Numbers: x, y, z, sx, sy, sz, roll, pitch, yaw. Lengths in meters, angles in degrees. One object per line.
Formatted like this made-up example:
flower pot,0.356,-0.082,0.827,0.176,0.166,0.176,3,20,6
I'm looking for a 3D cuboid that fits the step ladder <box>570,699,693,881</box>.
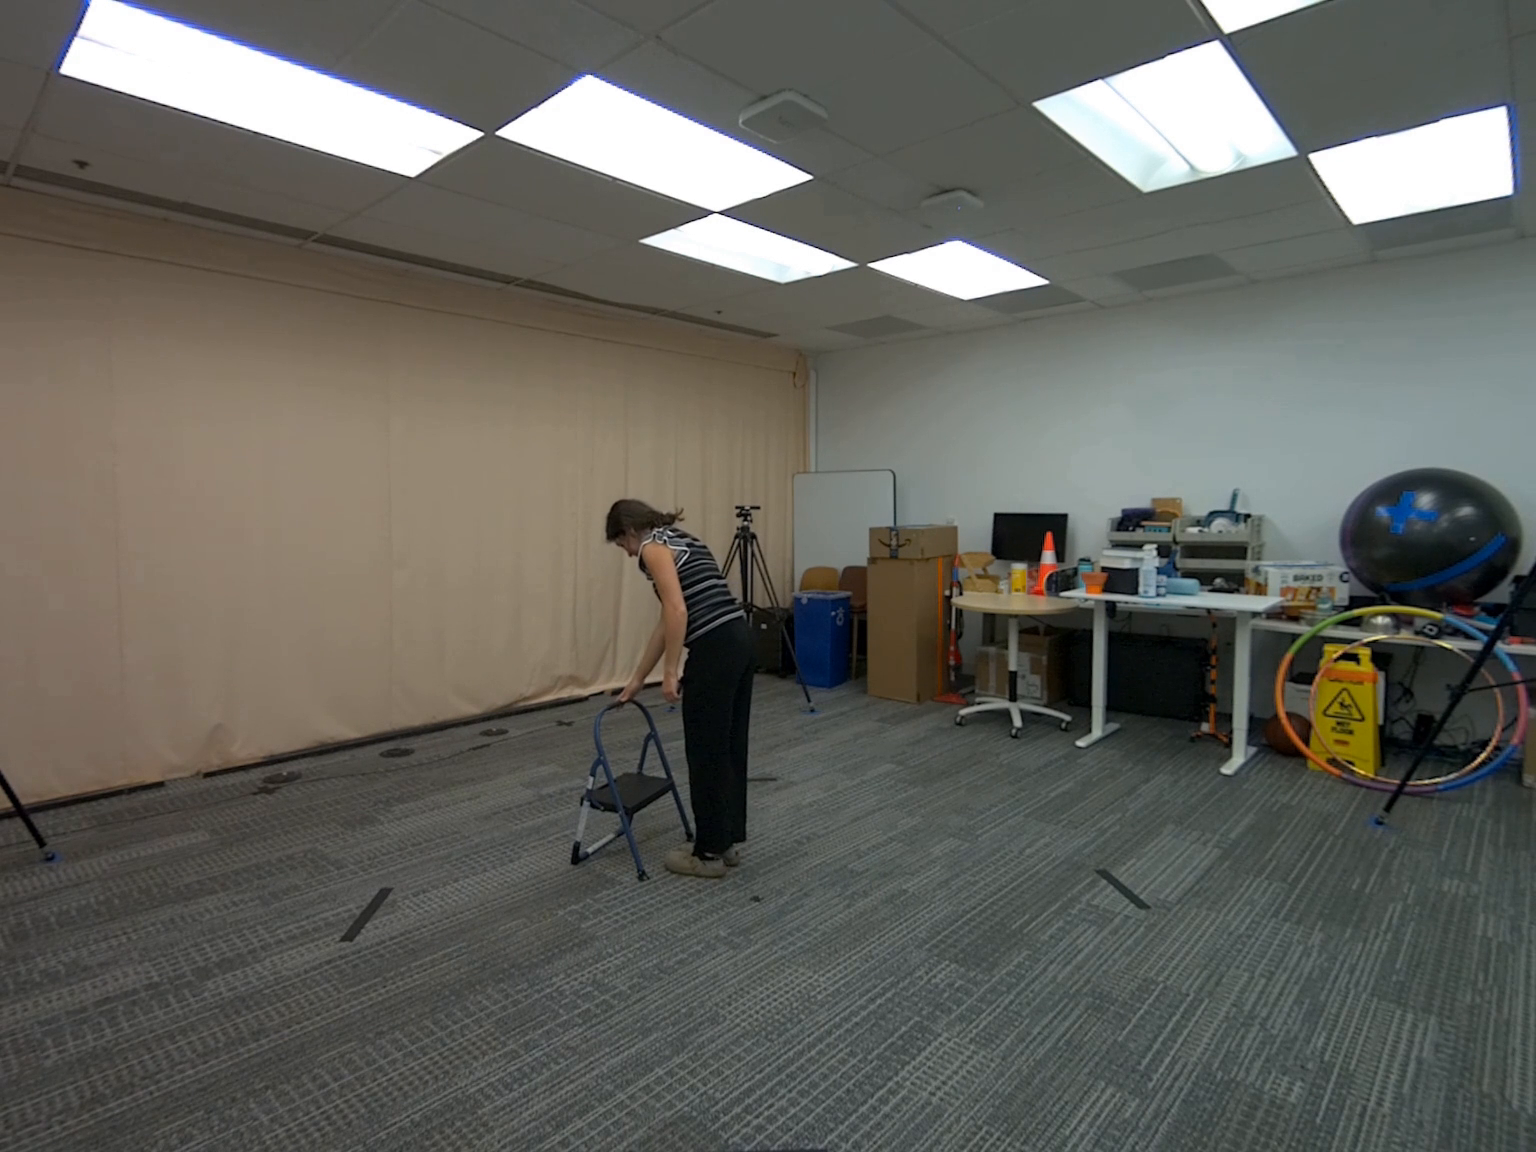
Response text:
step ladder,-0.541,0.814,3.385,0.358,0.605,0.421,0,3,24
